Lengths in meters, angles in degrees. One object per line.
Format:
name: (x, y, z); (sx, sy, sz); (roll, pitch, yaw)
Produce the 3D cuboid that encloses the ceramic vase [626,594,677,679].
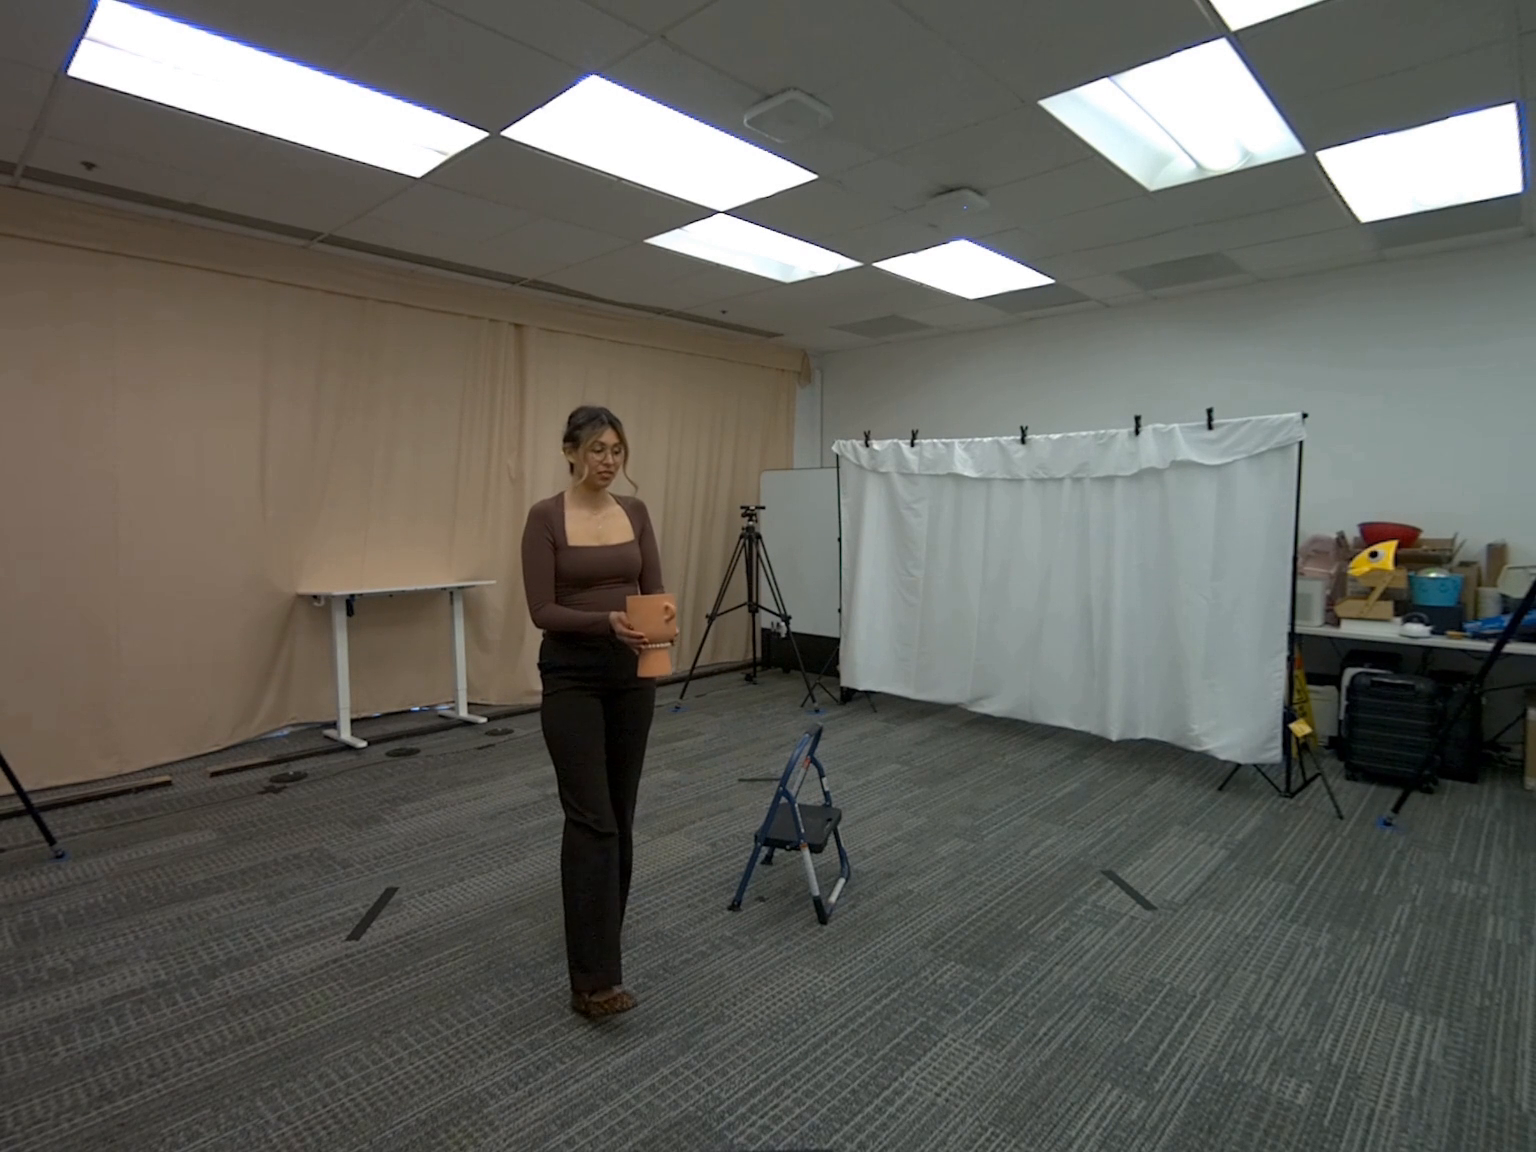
ceramic vase: (-0.314, 0.163, 2.298); (0.134, 0.220, 0.159); (-3, -1, -6)
